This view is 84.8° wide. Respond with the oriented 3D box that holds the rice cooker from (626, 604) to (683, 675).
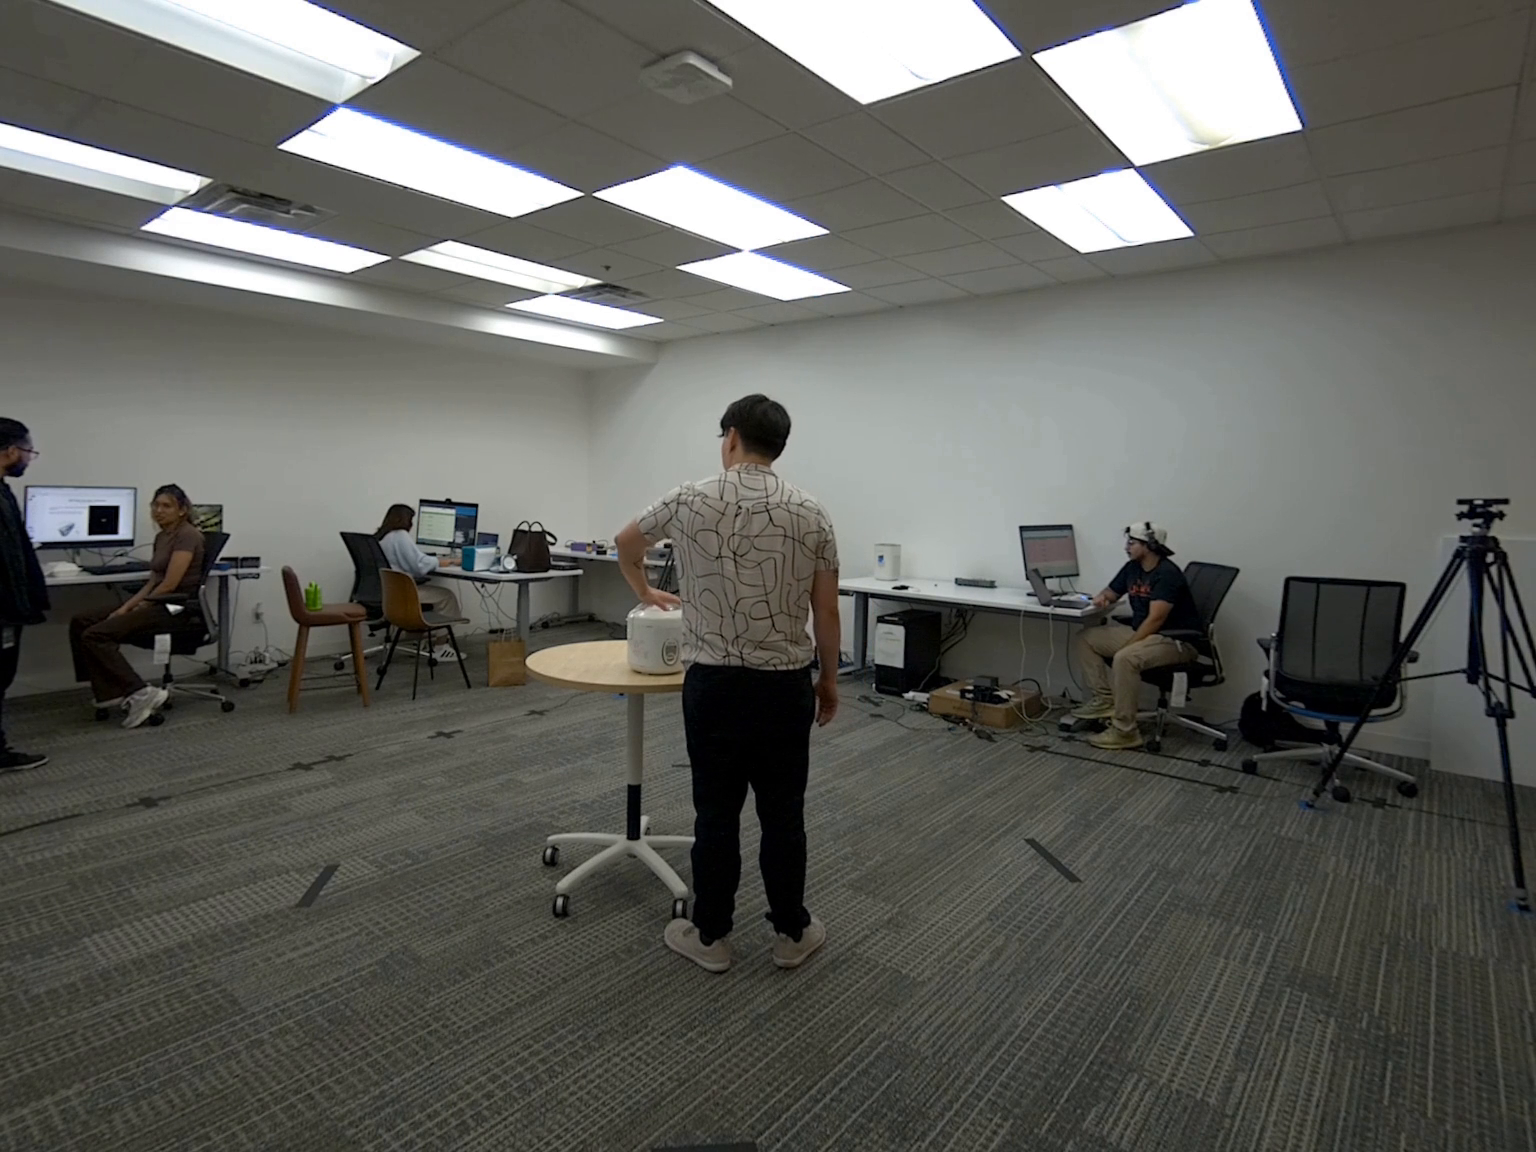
[{"bbox_3d":[-0.375,0.197,2.842,0.215,0.232,0.224,-2,5,-28],"label":"rice cooker"}]
